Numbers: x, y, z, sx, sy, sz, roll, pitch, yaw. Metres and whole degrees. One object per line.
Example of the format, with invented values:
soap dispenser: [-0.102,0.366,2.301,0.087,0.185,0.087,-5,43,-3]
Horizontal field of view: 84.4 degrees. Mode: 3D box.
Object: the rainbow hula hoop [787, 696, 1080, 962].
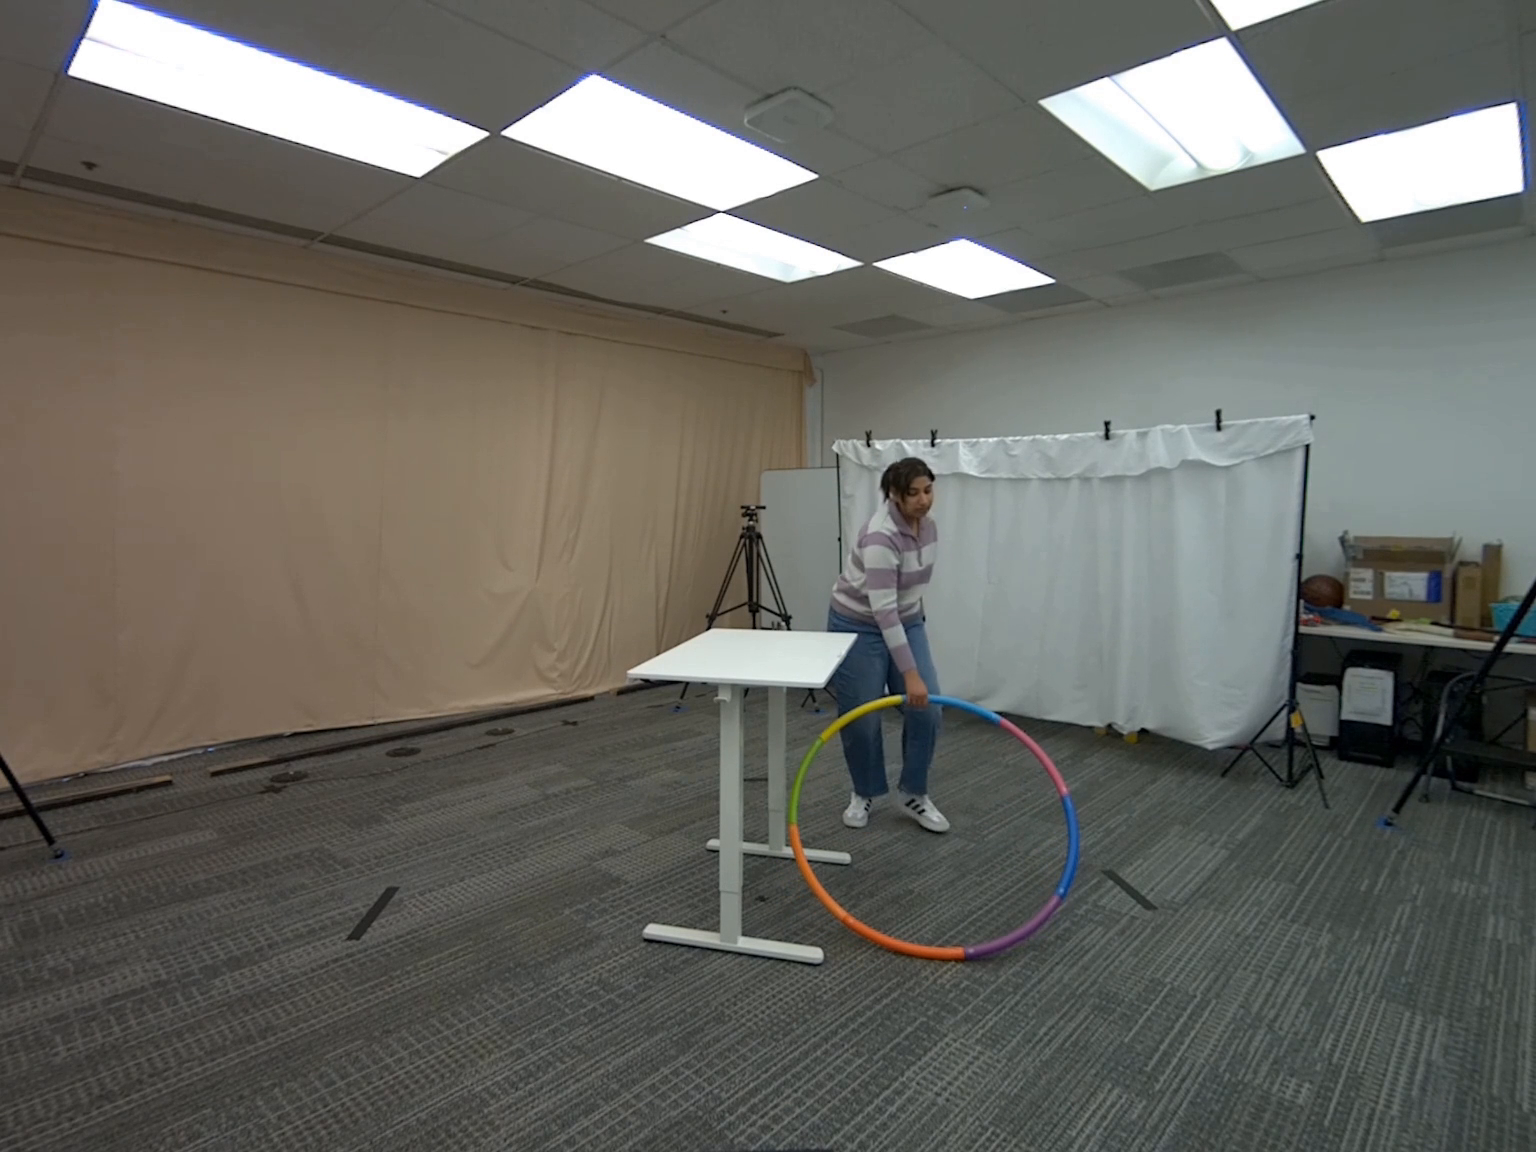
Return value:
rainbow hula hoop: [0.572,0.822,2.933,0.983,0.035,0.998,-6,43,4]
